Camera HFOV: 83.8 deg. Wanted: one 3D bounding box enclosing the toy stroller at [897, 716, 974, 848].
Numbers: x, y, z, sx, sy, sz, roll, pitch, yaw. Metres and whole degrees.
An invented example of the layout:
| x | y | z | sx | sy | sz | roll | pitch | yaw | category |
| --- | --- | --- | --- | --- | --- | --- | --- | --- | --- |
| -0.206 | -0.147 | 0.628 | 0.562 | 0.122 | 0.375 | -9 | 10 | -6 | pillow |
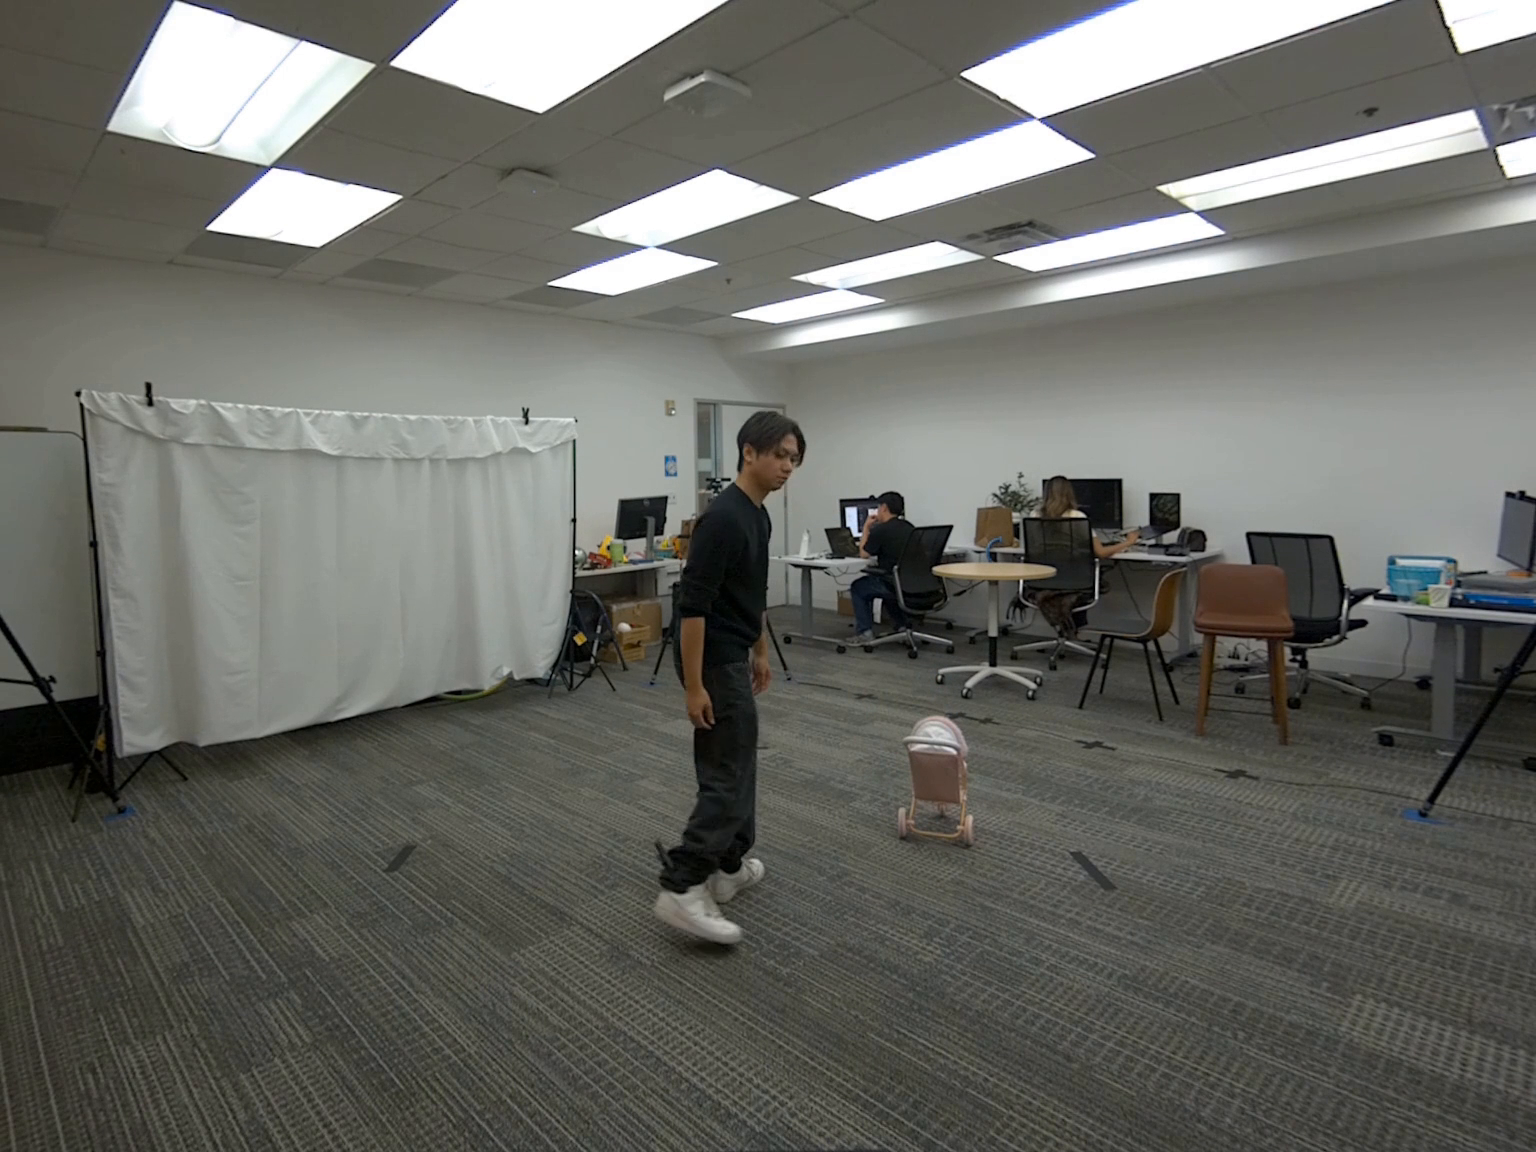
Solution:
| x | y | z | sx | sy | sz | roll | pitch | yaw | category |
| --- | --- | --- | --- | --- | --- | --- | --- | --- | --- |
| 0.662 | 0.780 | 3.320 | 0.288 | 0.526 | 0.340 | 2 | 20 | 23 | toy stroller |
